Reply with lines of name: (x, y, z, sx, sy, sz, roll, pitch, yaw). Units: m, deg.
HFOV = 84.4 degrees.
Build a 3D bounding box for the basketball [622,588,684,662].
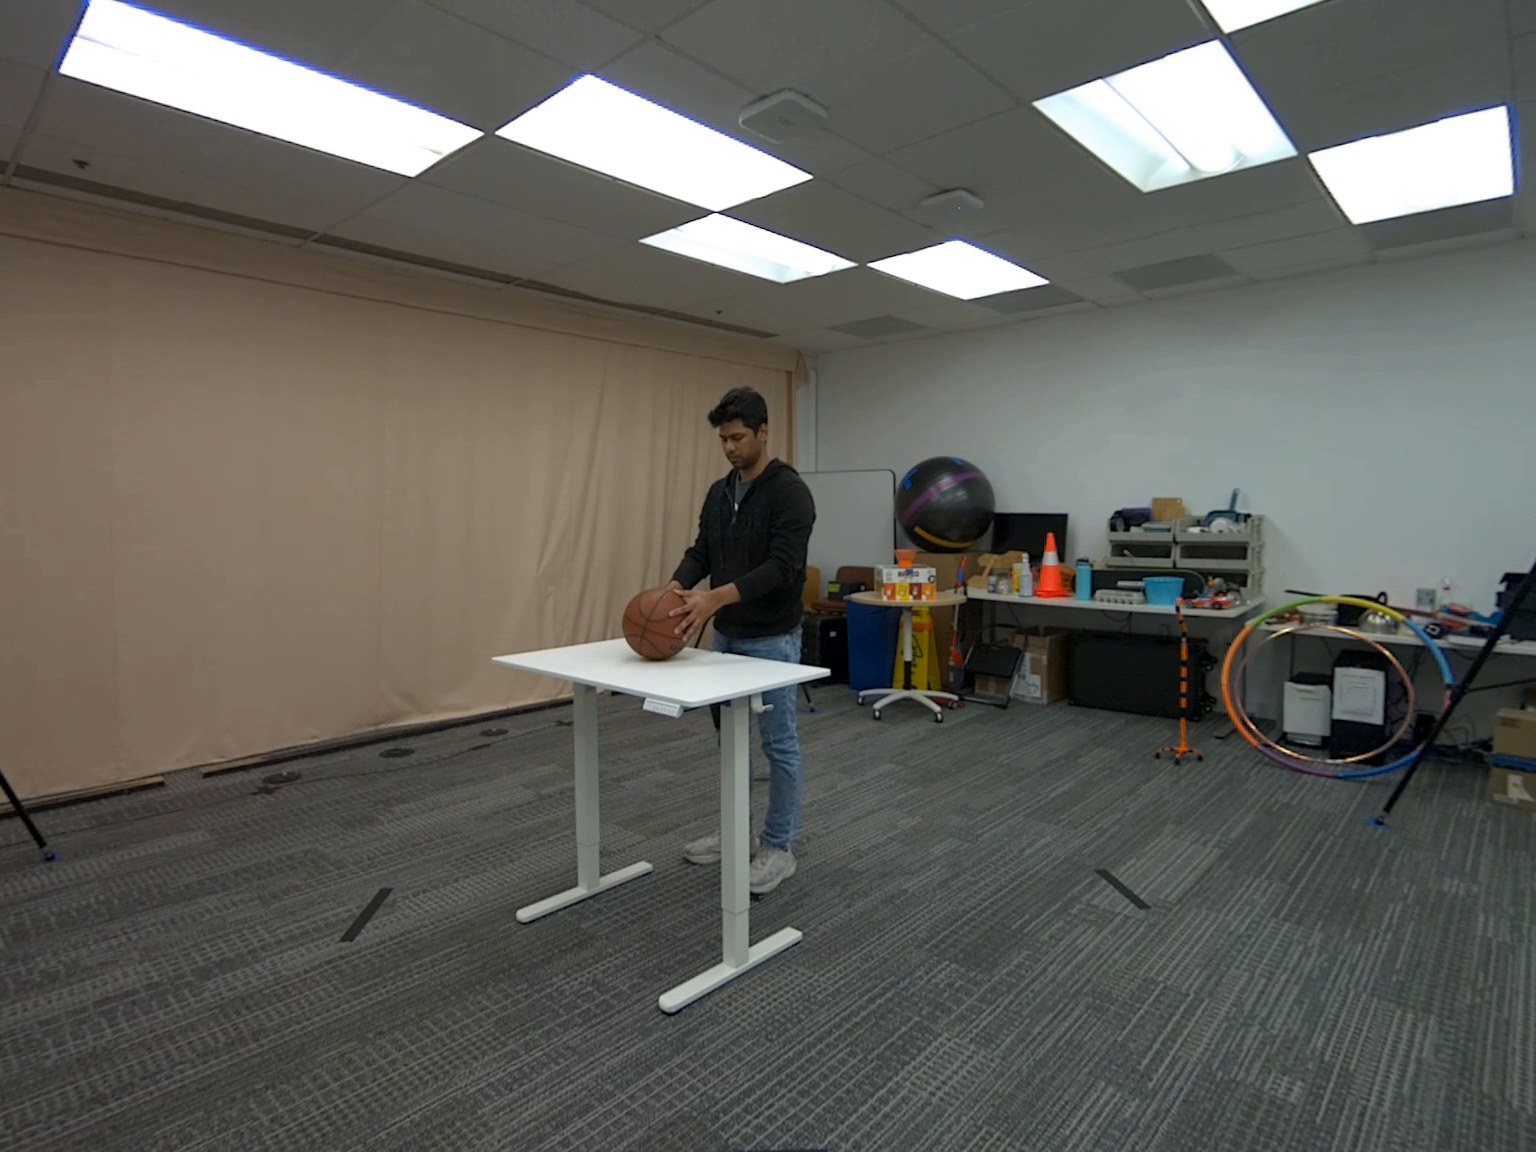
basketball: (-0.362, 0.158, 2.819, 0.236, 0.235, 0.237, 0, 4, -2)
